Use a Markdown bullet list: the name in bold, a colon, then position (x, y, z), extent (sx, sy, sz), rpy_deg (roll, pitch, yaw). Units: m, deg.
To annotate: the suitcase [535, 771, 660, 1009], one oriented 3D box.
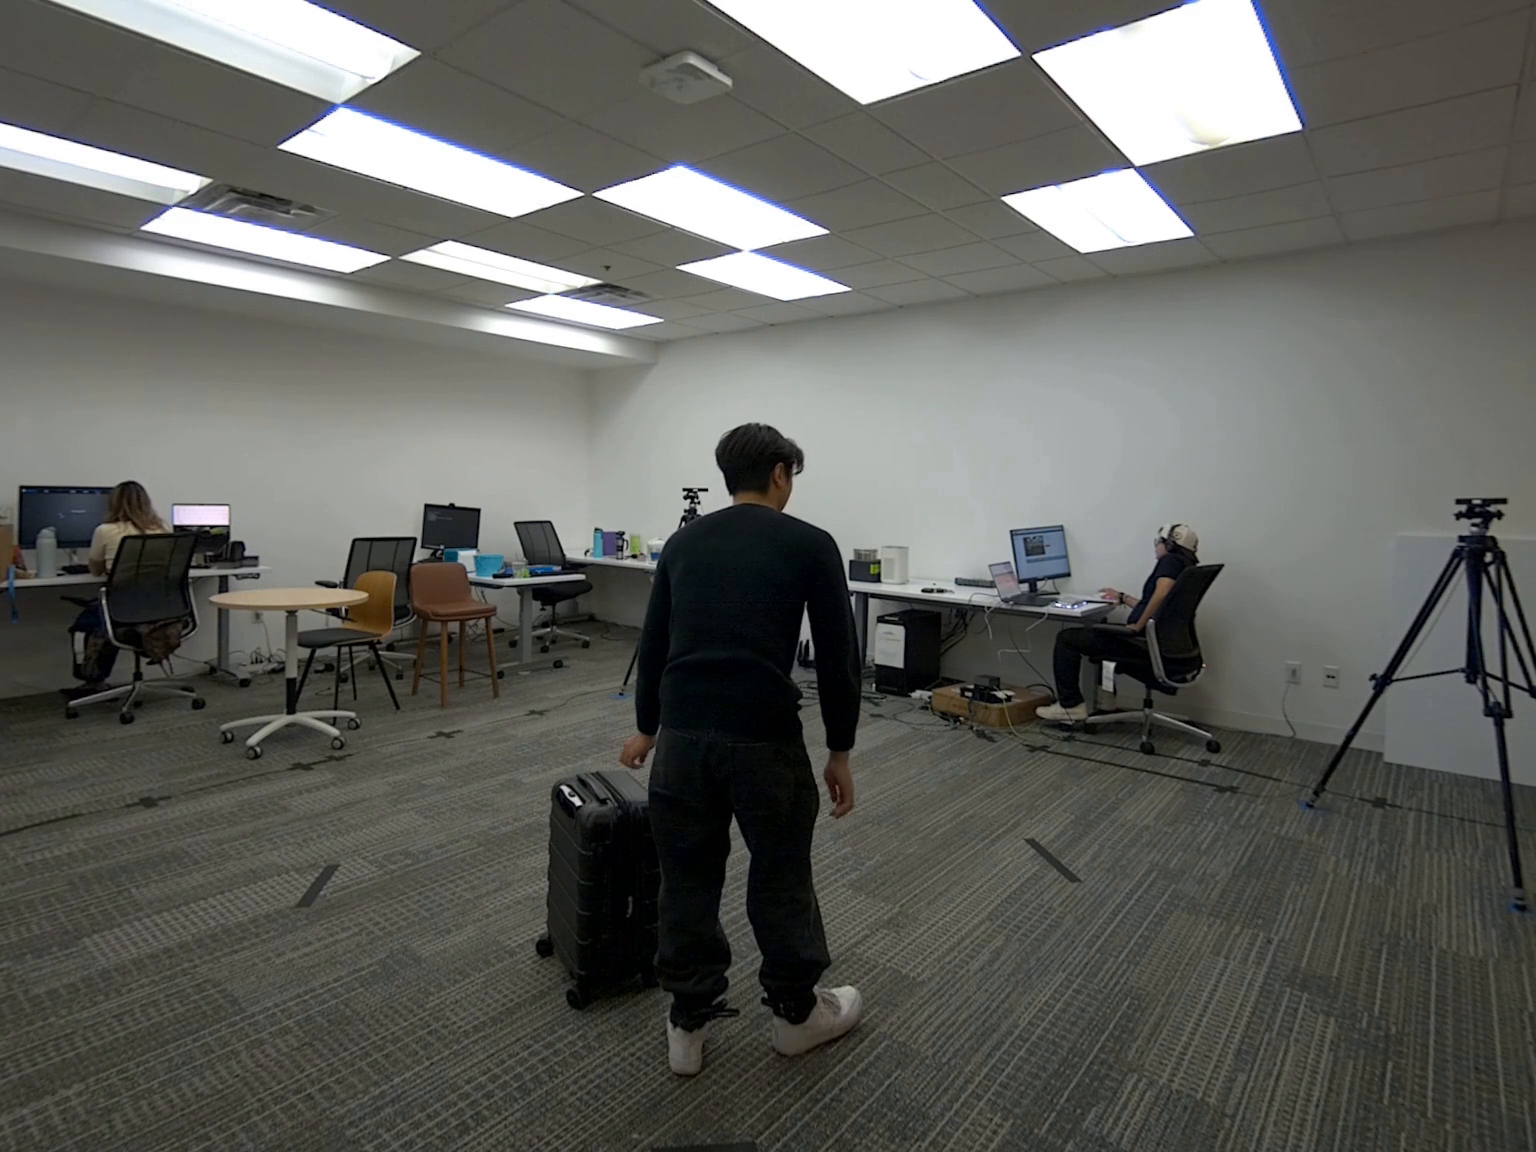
- **suitcase**: position (-0.480, 0.856, 2.432), extent (0.242, 0.548, 0.387), rpy_deg (1, 4, -29)
